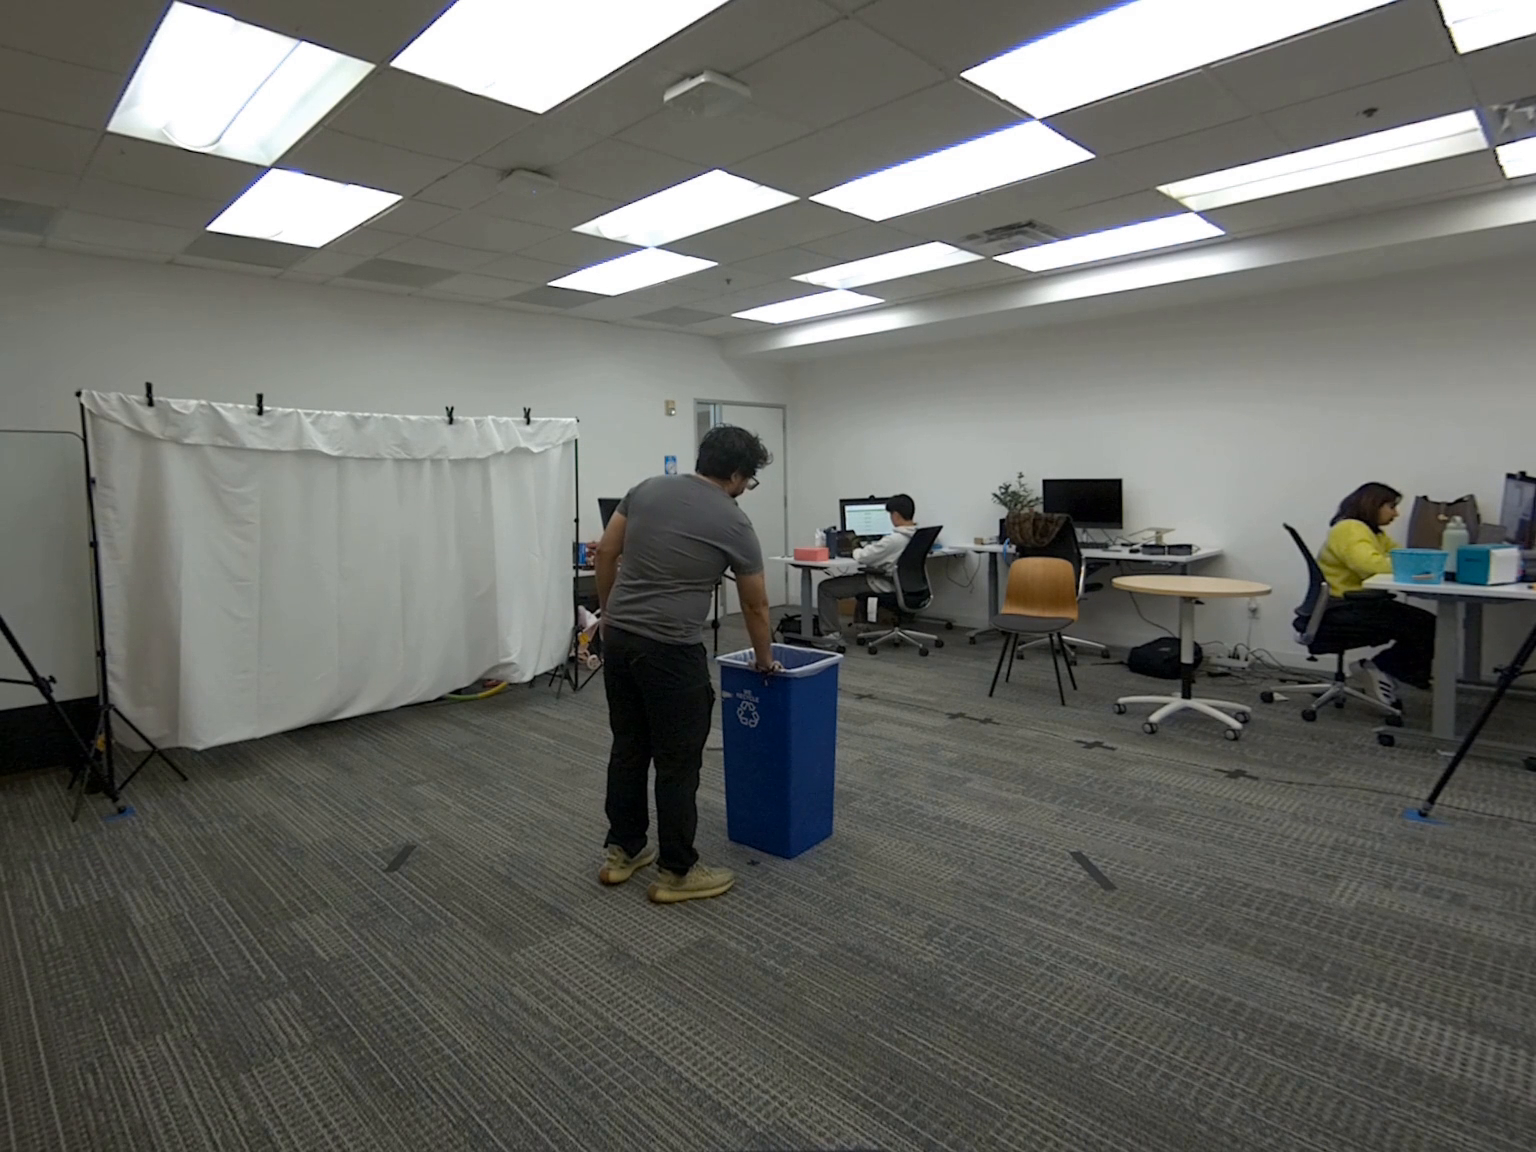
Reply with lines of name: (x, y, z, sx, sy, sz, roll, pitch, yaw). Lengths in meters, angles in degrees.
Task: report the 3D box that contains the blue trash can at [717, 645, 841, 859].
blue trash can: (0.058, 0.659, 3.302, 0.385, 0.711, 0.368, 3, 6, 39)
